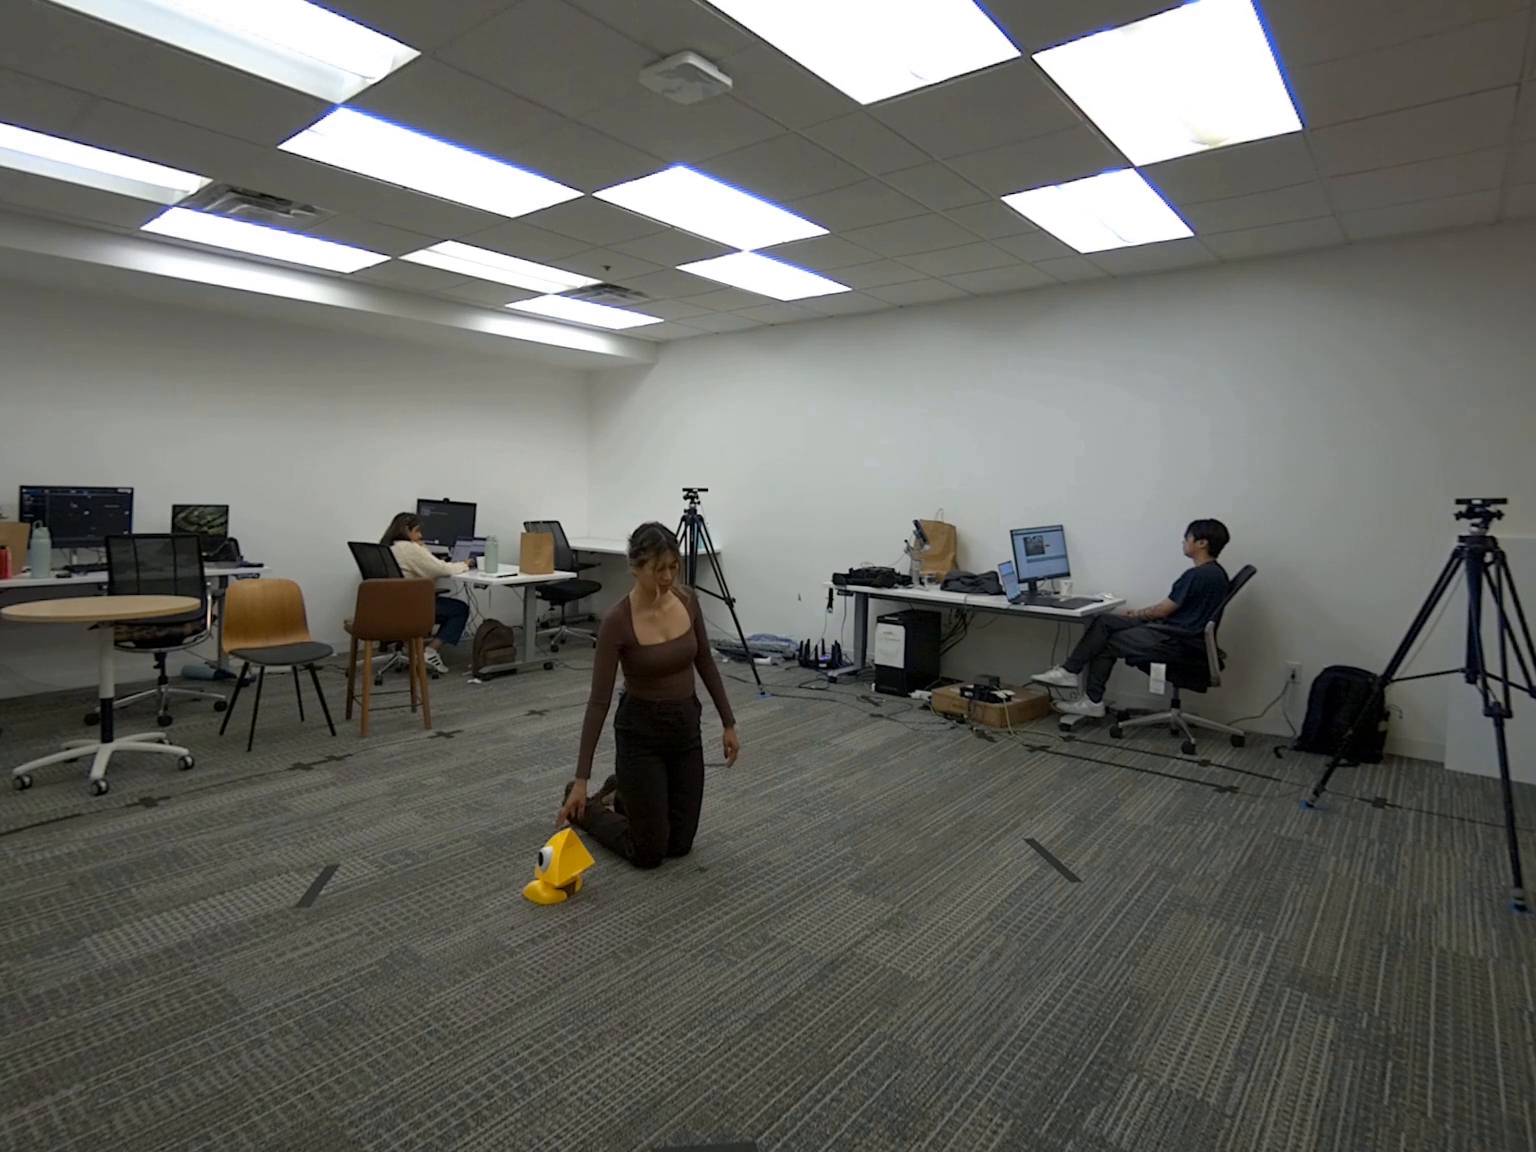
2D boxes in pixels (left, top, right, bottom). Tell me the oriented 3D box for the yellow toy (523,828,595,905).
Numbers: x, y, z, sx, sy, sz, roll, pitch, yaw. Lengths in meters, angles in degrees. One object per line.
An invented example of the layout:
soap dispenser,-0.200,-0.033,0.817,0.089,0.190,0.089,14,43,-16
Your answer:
yellow toy,-0.739,0.966,2.919,0.199,0.230,0.200,4,5,28
